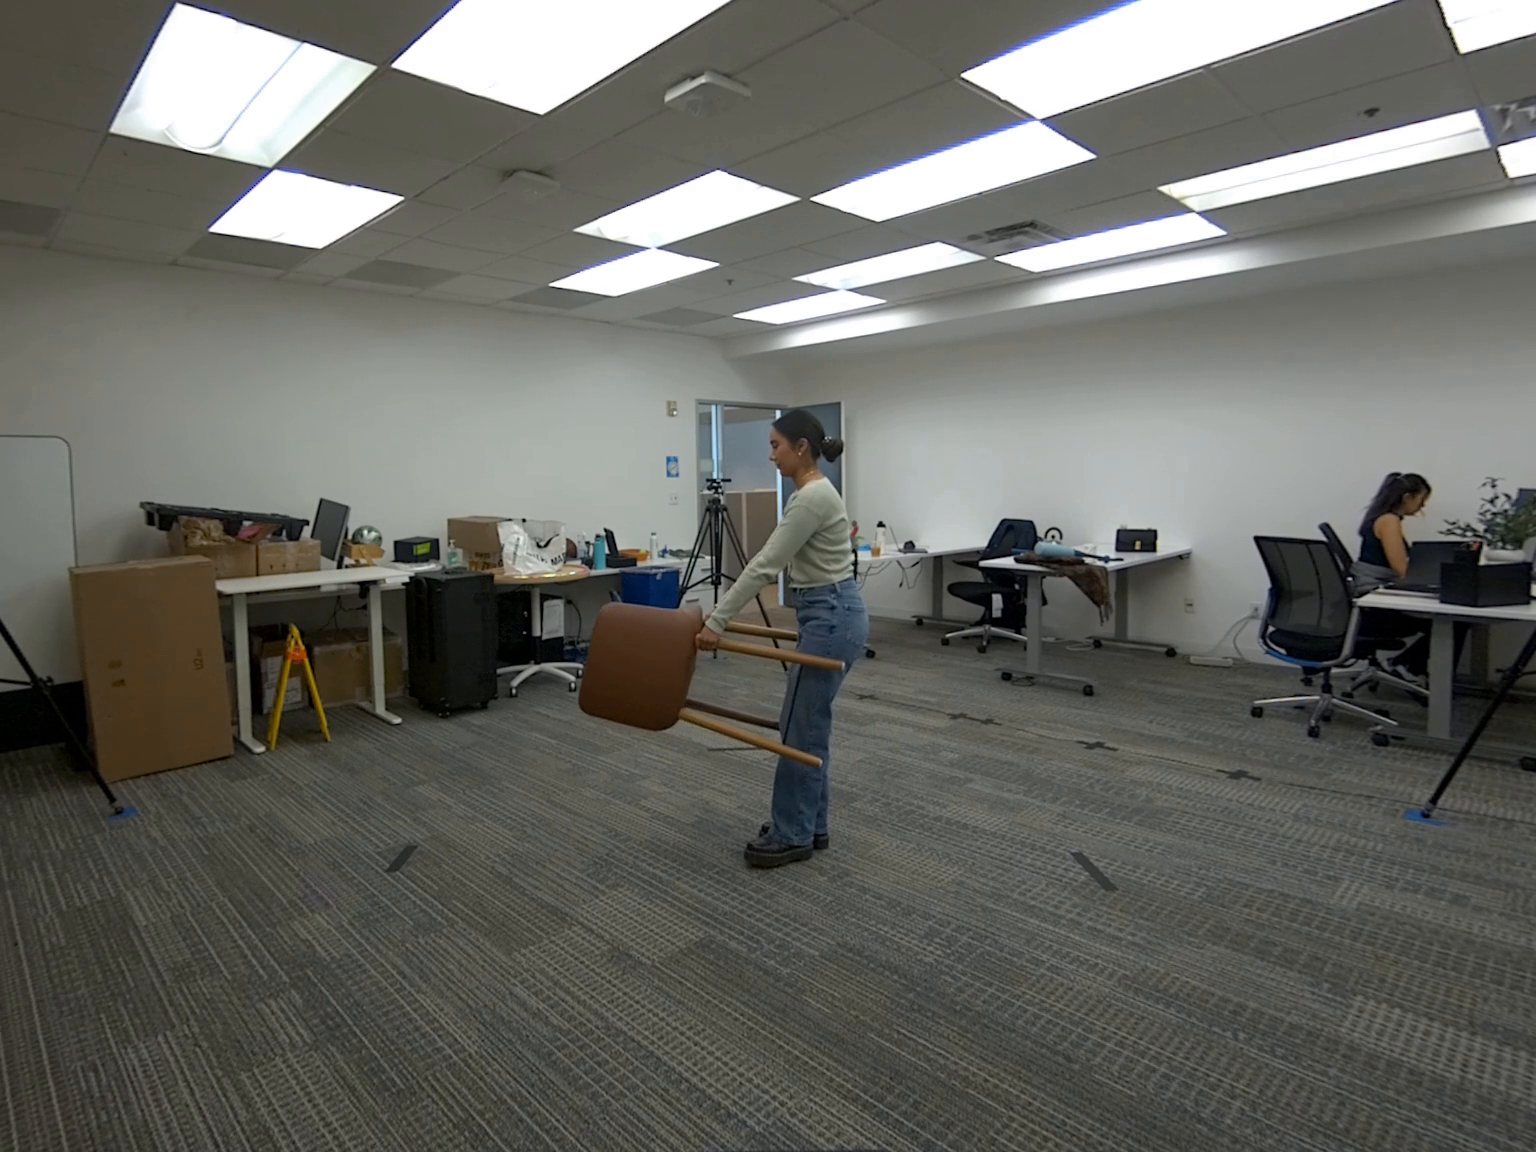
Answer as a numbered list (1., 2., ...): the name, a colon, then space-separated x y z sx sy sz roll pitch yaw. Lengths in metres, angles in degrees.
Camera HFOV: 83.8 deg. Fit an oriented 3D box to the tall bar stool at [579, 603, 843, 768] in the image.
1. tall bar stool: -0.202 0.371 3.177 0.891 0.455 0.468 12 4 1
